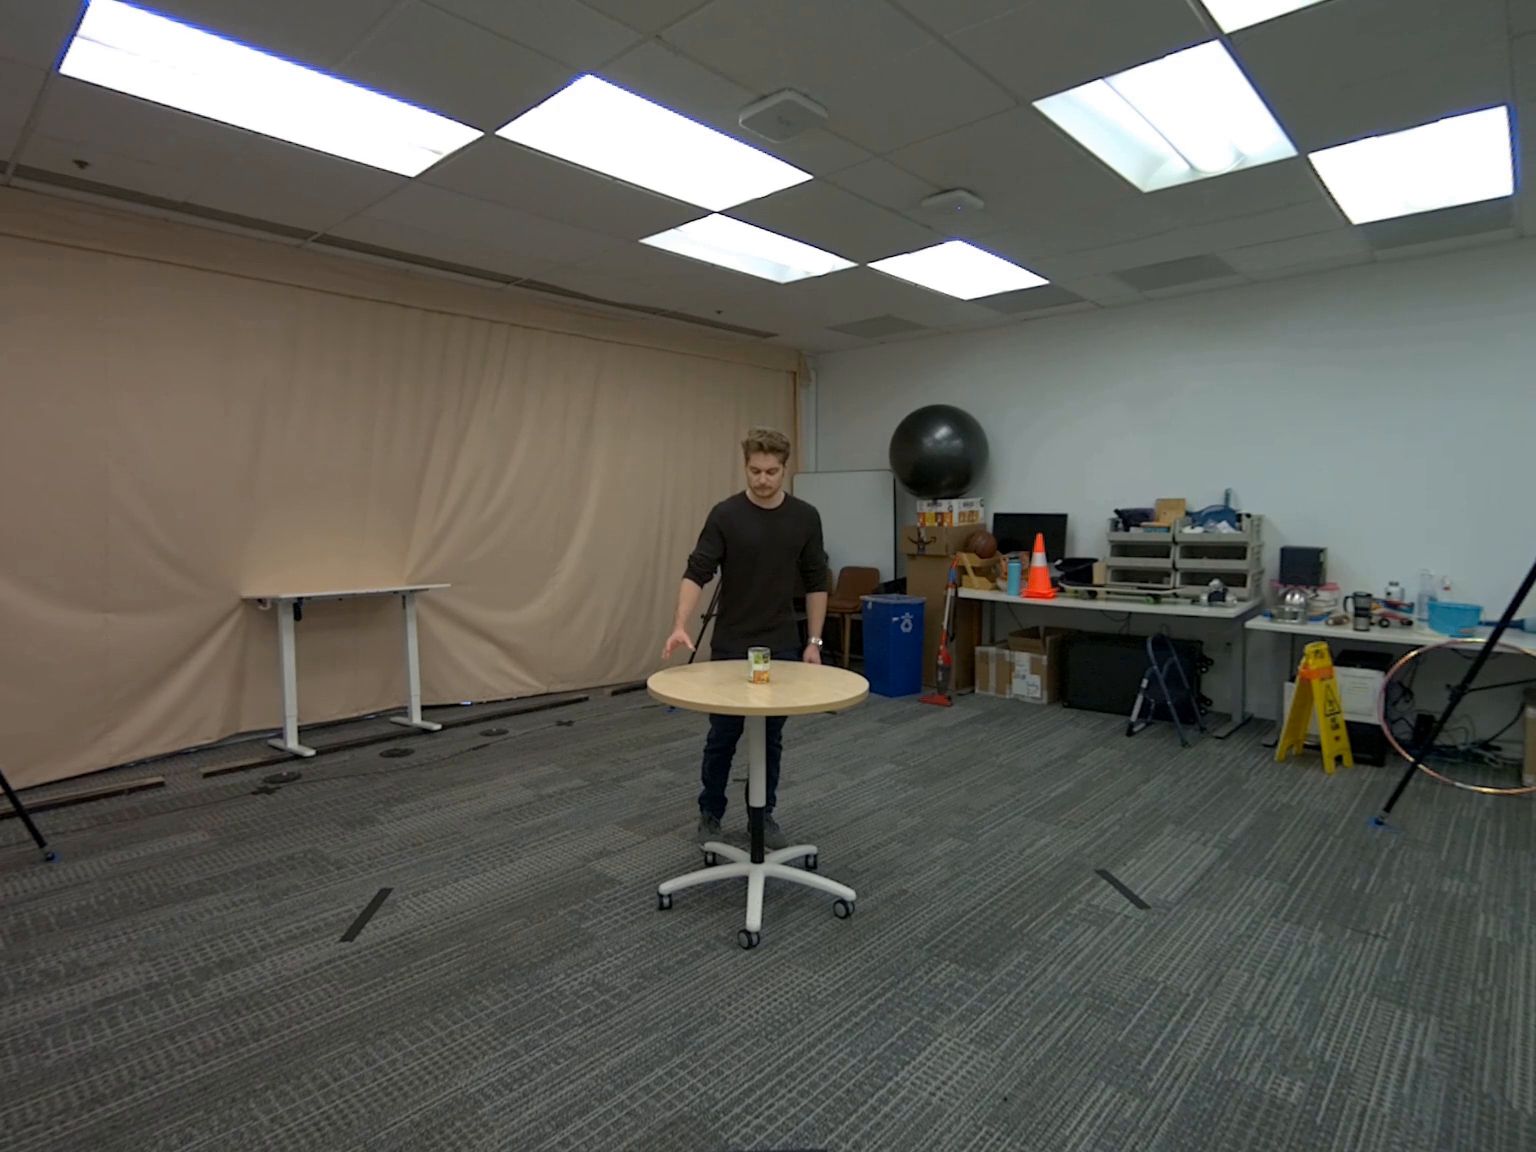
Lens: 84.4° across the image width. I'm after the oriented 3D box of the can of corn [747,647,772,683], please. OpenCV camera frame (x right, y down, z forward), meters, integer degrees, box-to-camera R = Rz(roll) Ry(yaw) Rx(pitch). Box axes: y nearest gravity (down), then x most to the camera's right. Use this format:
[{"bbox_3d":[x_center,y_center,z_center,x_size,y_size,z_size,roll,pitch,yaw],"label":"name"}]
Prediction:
[{"bbox_3d":[-0.033,0.309,2.913,0.074,0.111,0.074,-1,4,-2],"label":"can of corn"}]
